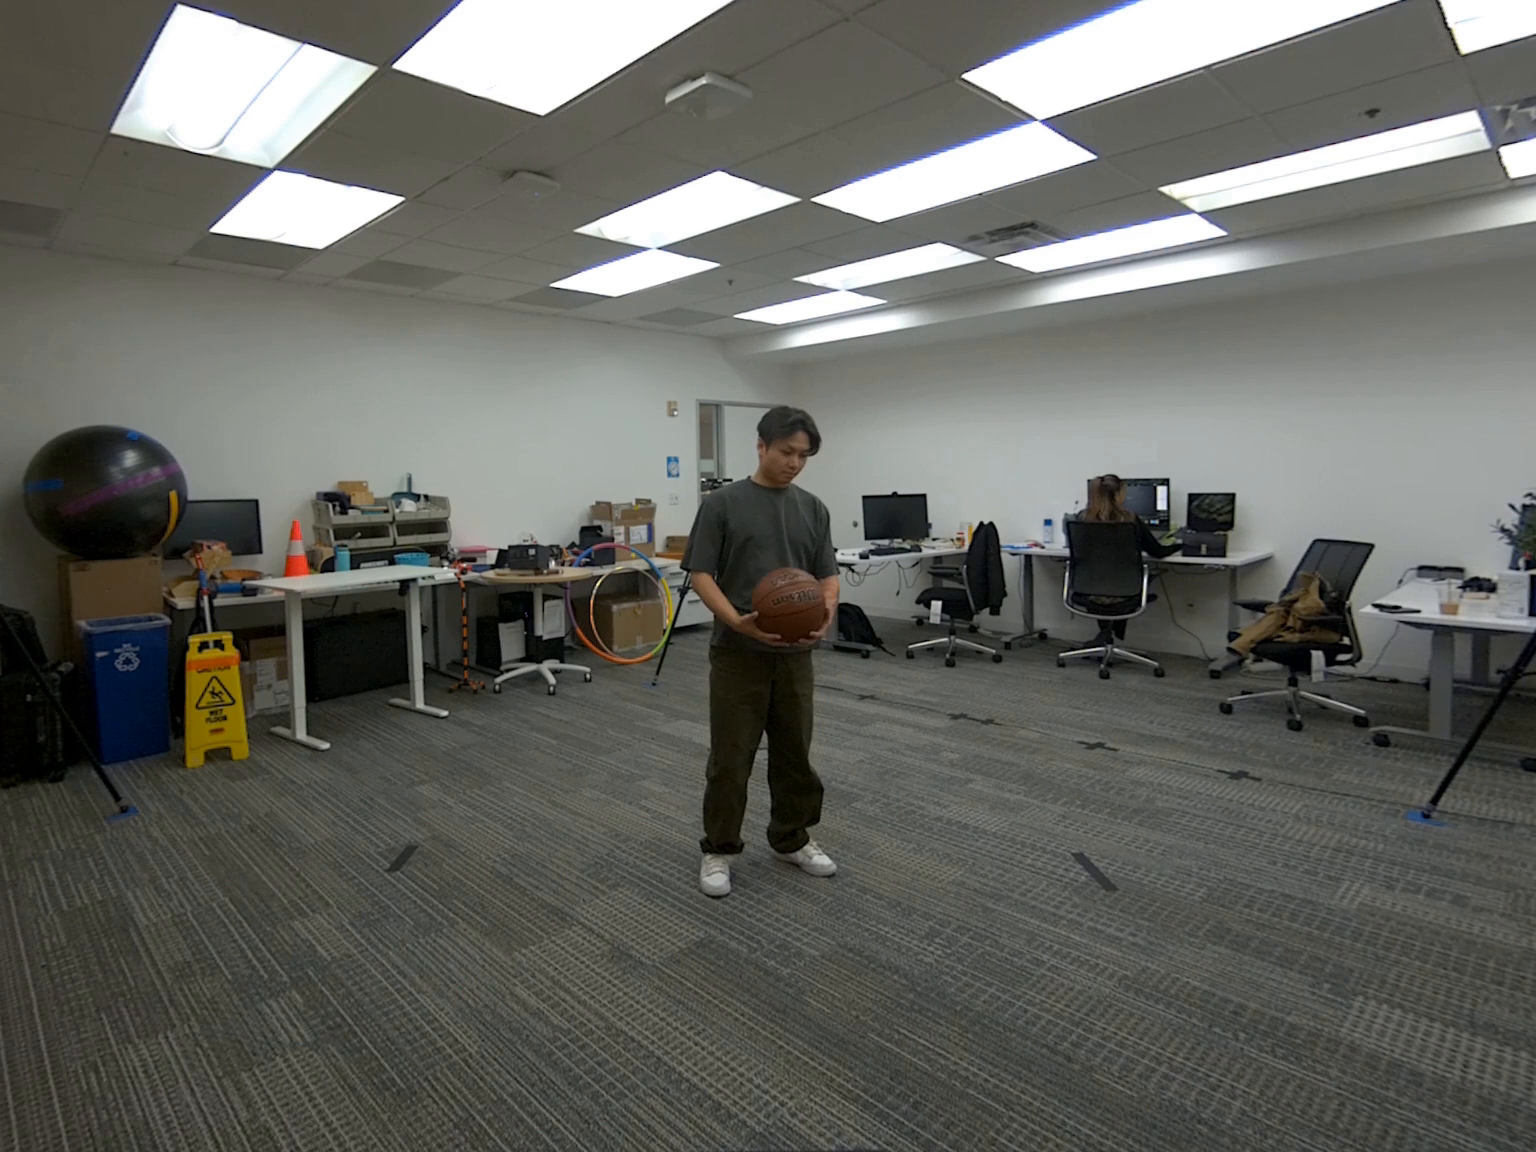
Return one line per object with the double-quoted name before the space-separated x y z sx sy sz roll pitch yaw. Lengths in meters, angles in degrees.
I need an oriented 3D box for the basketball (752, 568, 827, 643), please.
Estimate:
"basketball" 0.061 0.094 2.742 0.236 0.235 0.237 -1 5 -2
